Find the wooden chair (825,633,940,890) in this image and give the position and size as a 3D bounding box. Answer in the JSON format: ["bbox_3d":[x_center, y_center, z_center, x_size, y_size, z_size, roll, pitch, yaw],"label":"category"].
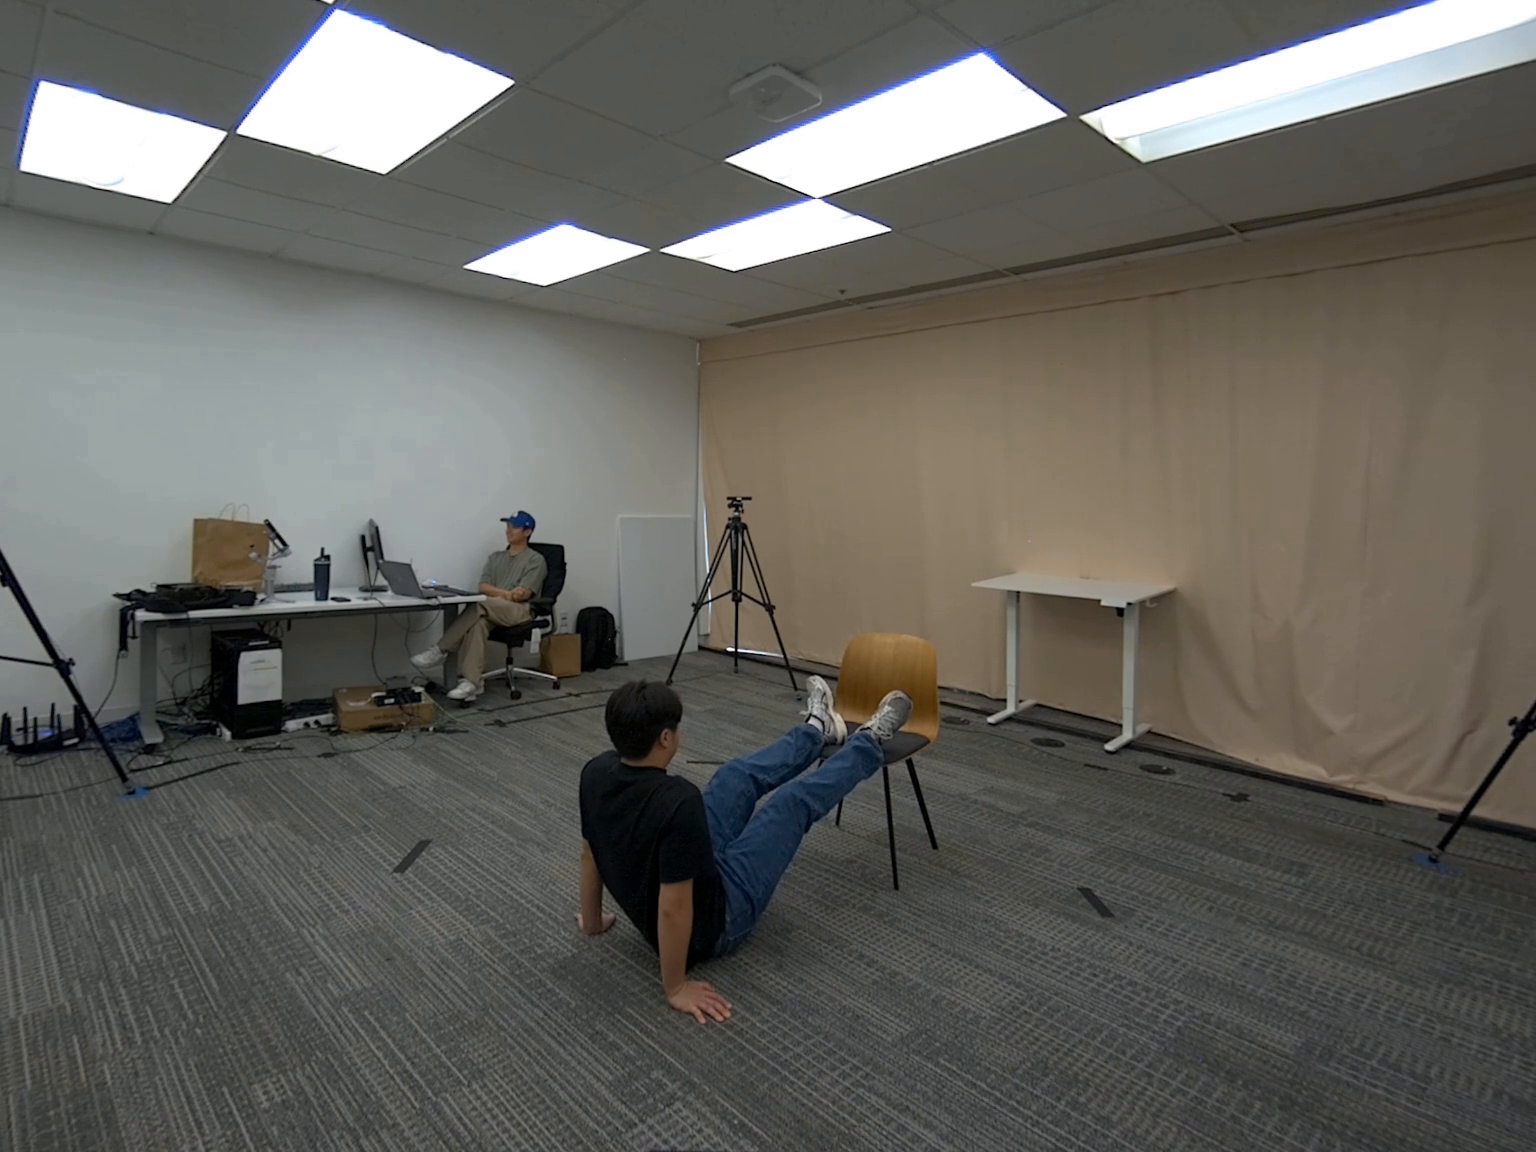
[{"bbox_3d":[0.383,0.676,3.294,0.489,0.878,0.511,3,0,31],"label":"wooden chair"}]
